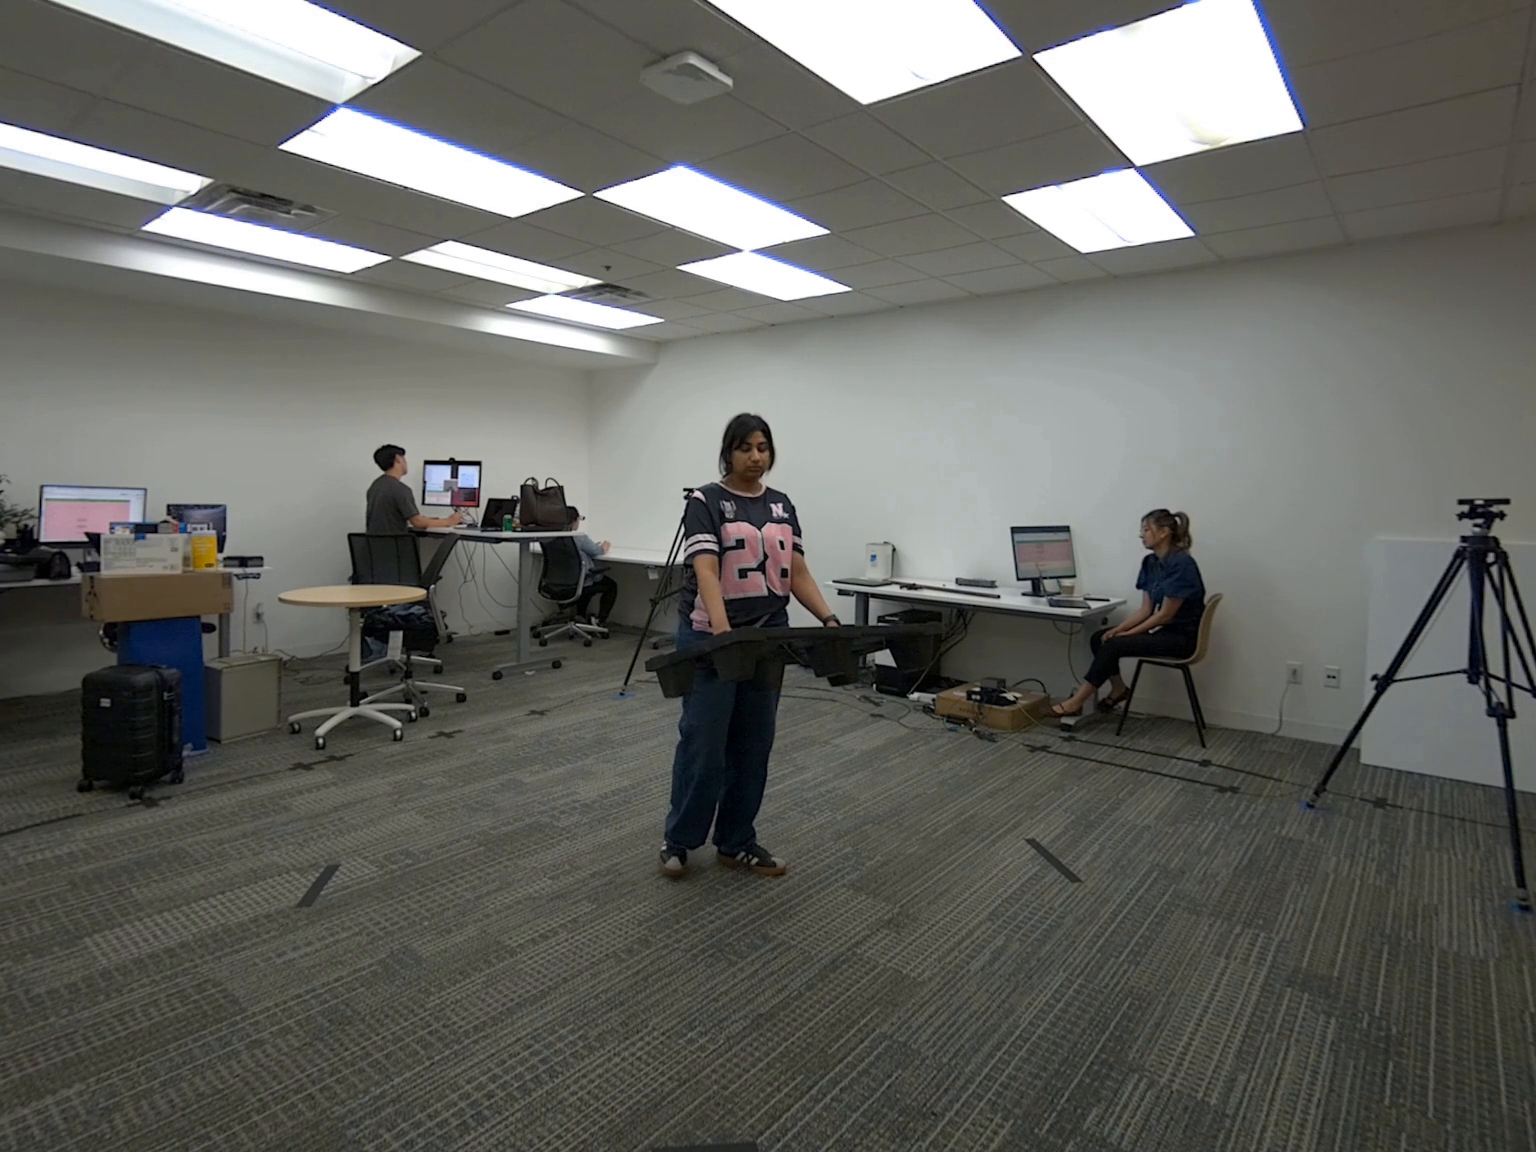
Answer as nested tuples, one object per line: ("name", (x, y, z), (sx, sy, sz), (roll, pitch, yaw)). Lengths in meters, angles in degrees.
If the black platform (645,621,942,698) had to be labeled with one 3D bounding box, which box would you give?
("black platform", (0.087, 0.277, 2.760), (0.782, 0.145, 0.614), (0, -13, -33))
